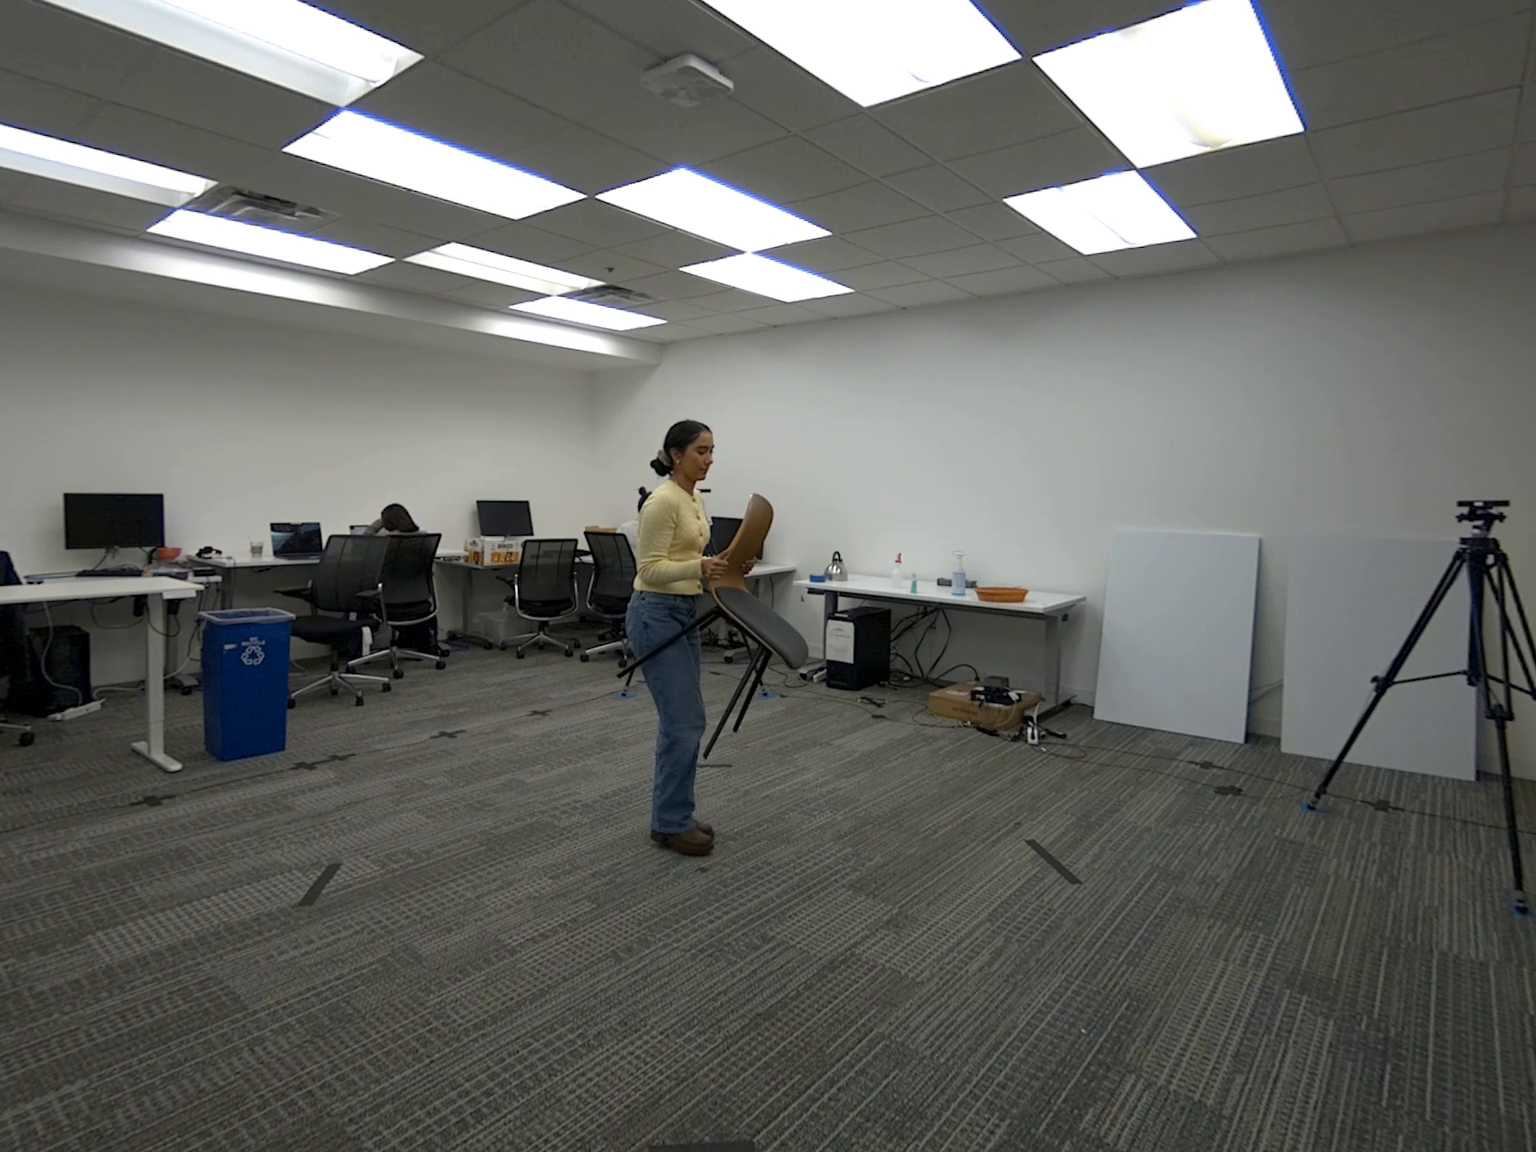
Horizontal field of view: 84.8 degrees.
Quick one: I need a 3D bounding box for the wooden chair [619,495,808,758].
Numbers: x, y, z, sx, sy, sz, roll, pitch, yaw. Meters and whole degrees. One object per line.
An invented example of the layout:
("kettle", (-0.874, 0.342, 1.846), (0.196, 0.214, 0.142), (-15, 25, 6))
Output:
("wooden chair", (-0.088, 0.190, 3.267), (0.534, 0.876, 0.470), (36, 8, 13))
